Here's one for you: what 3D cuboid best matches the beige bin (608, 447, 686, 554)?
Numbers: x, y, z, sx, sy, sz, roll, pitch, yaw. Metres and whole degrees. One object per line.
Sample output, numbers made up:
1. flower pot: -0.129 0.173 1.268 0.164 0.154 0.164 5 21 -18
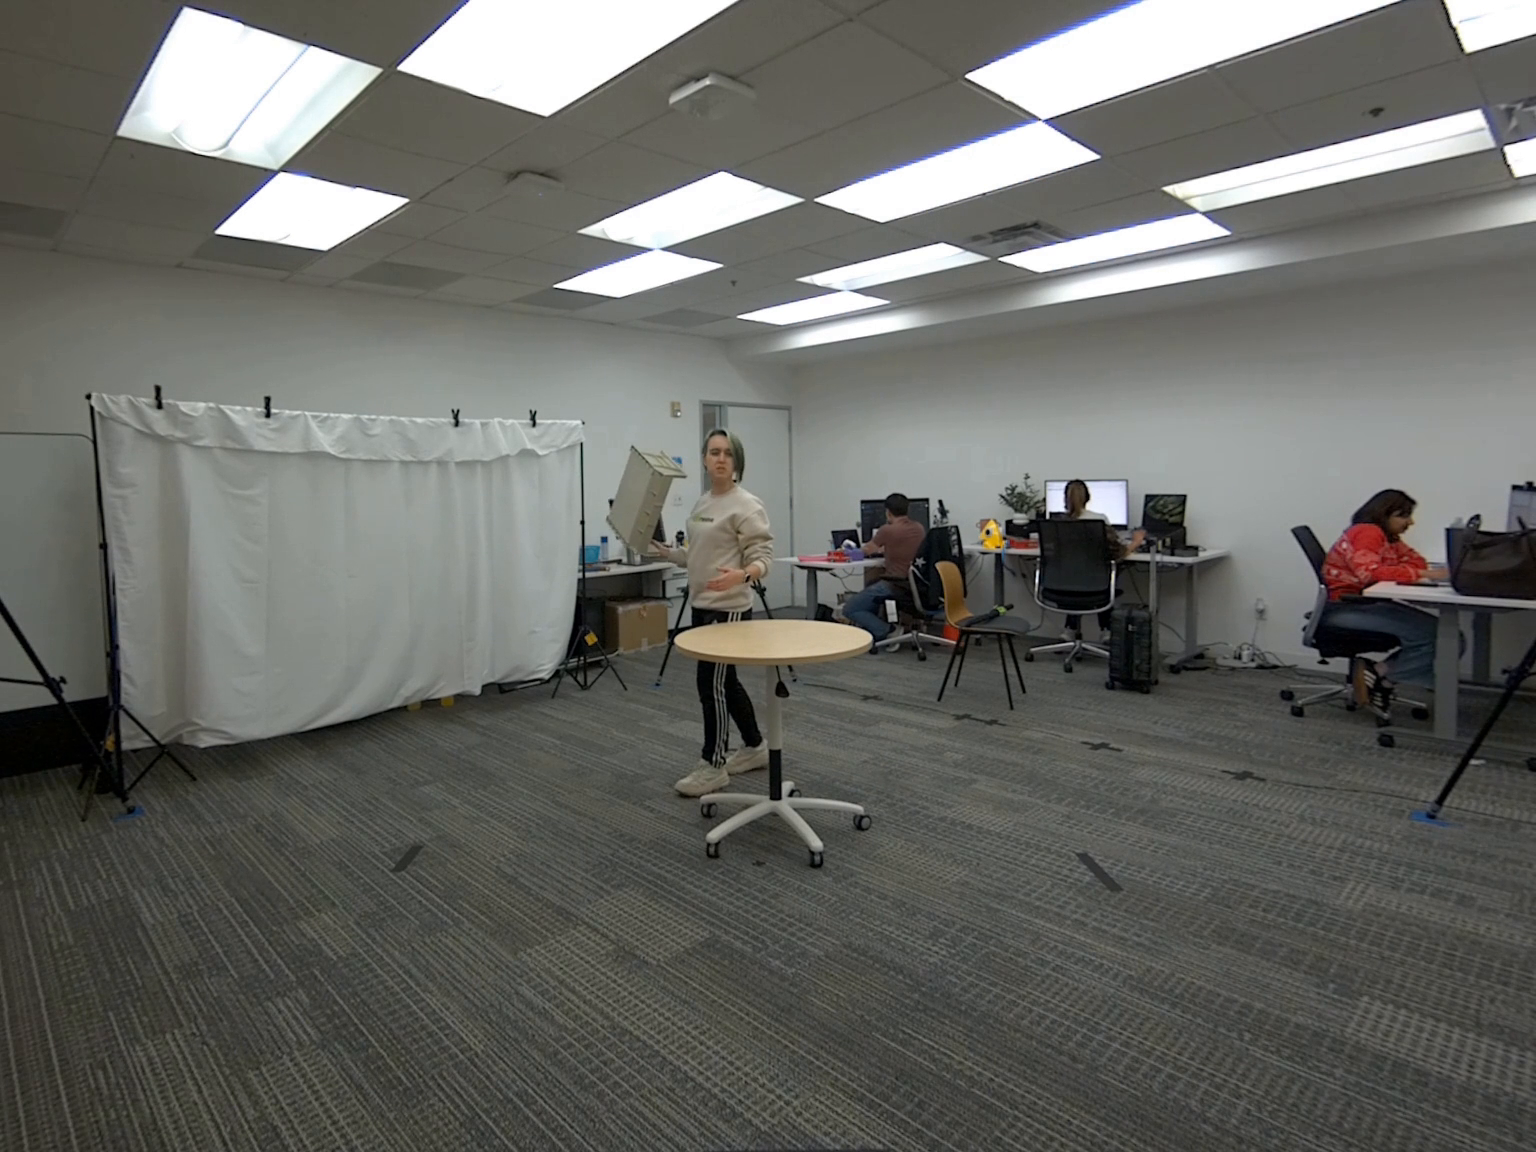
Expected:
1. beige bin: -0.574 -0.360 4.090 0.183 0.418 0.392 9 23 -34
